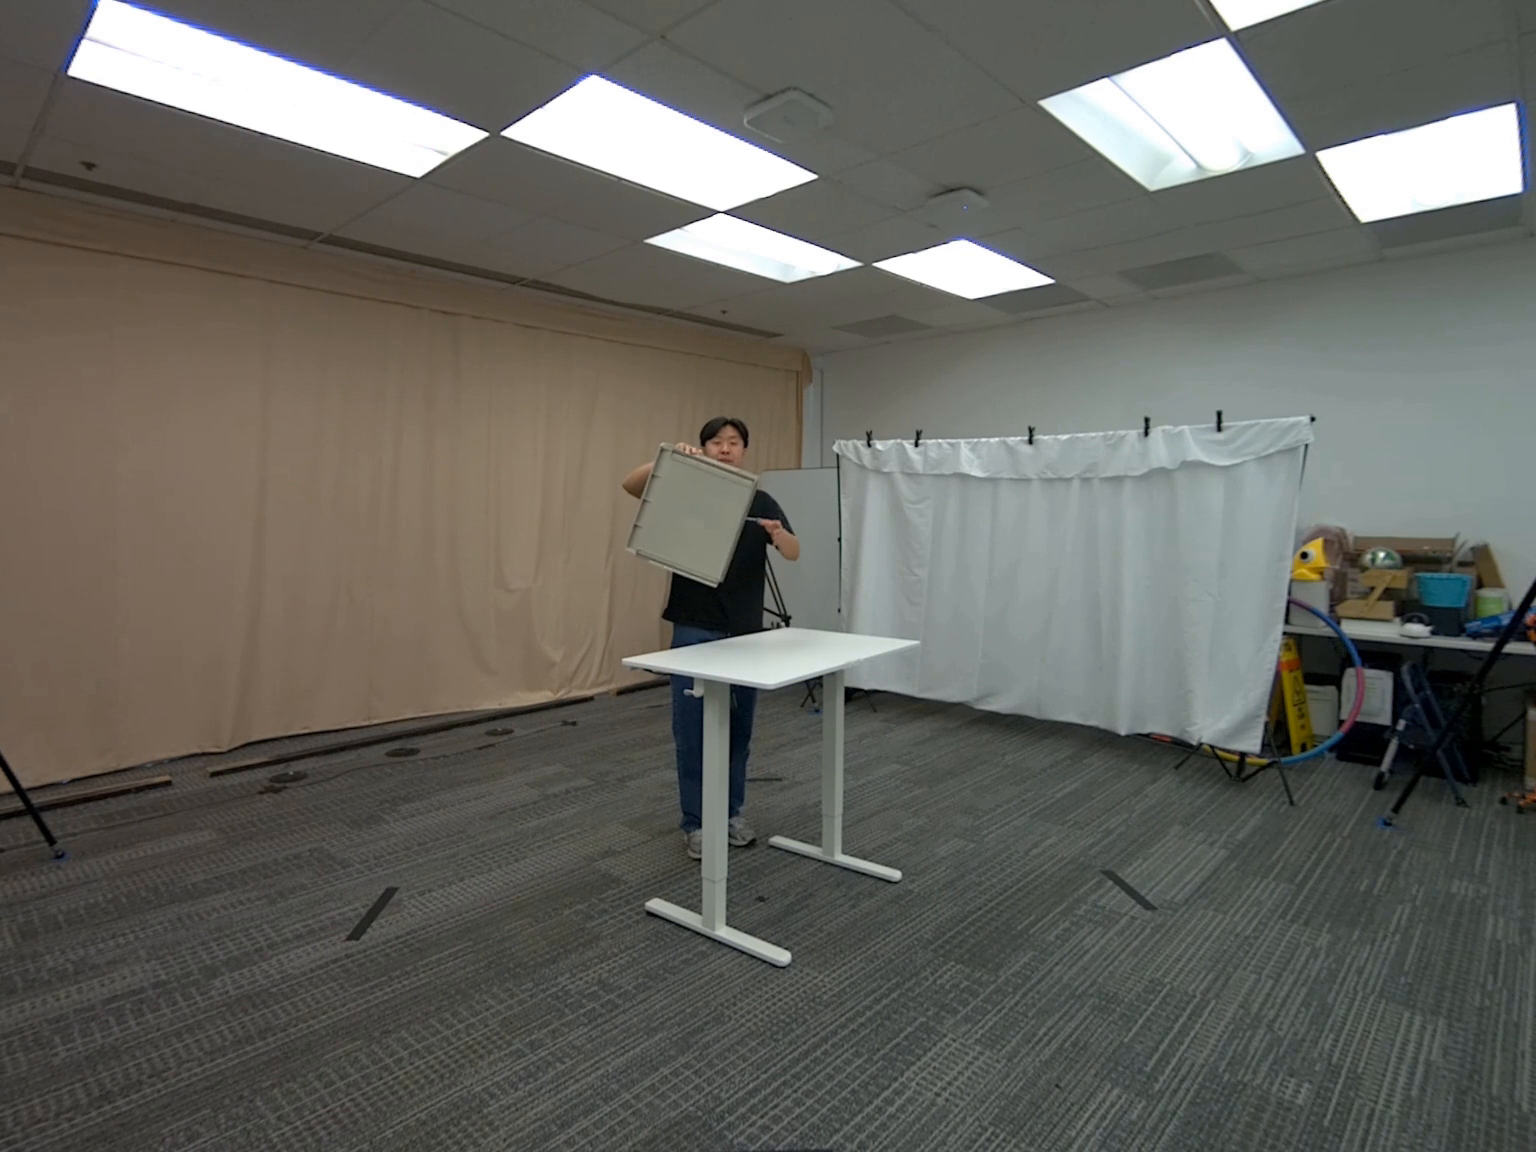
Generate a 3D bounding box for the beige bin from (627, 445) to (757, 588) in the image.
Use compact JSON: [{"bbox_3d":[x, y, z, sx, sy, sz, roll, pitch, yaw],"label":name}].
[{"bbox_3d":[-0.274,-0.225,3.078,0.378,0.422,0.189,21,7,1],"label":"beige bin"}]
